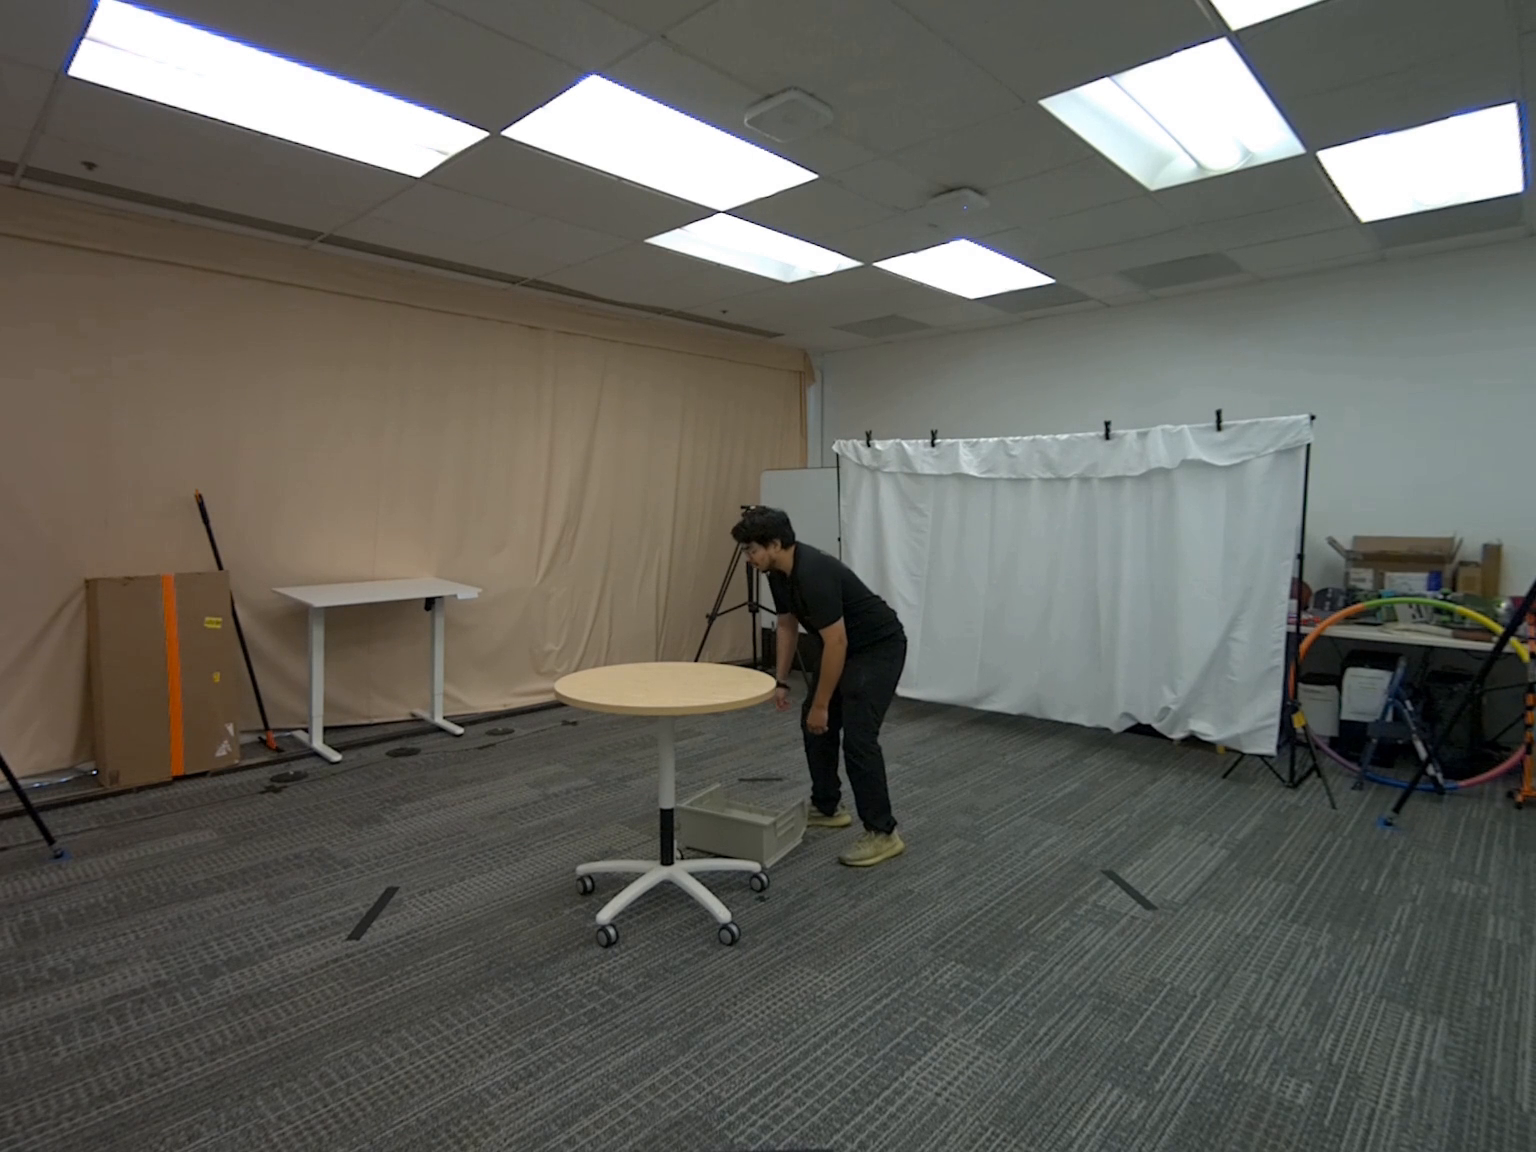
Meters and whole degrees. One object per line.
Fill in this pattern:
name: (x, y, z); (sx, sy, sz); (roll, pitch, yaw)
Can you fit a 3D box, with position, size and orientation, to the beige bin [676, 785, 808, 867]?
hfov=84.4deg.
beige bin: (-0.104, 1.016, 3.480); (0.434, 0.188, 0.368); (3, 6, 29)
